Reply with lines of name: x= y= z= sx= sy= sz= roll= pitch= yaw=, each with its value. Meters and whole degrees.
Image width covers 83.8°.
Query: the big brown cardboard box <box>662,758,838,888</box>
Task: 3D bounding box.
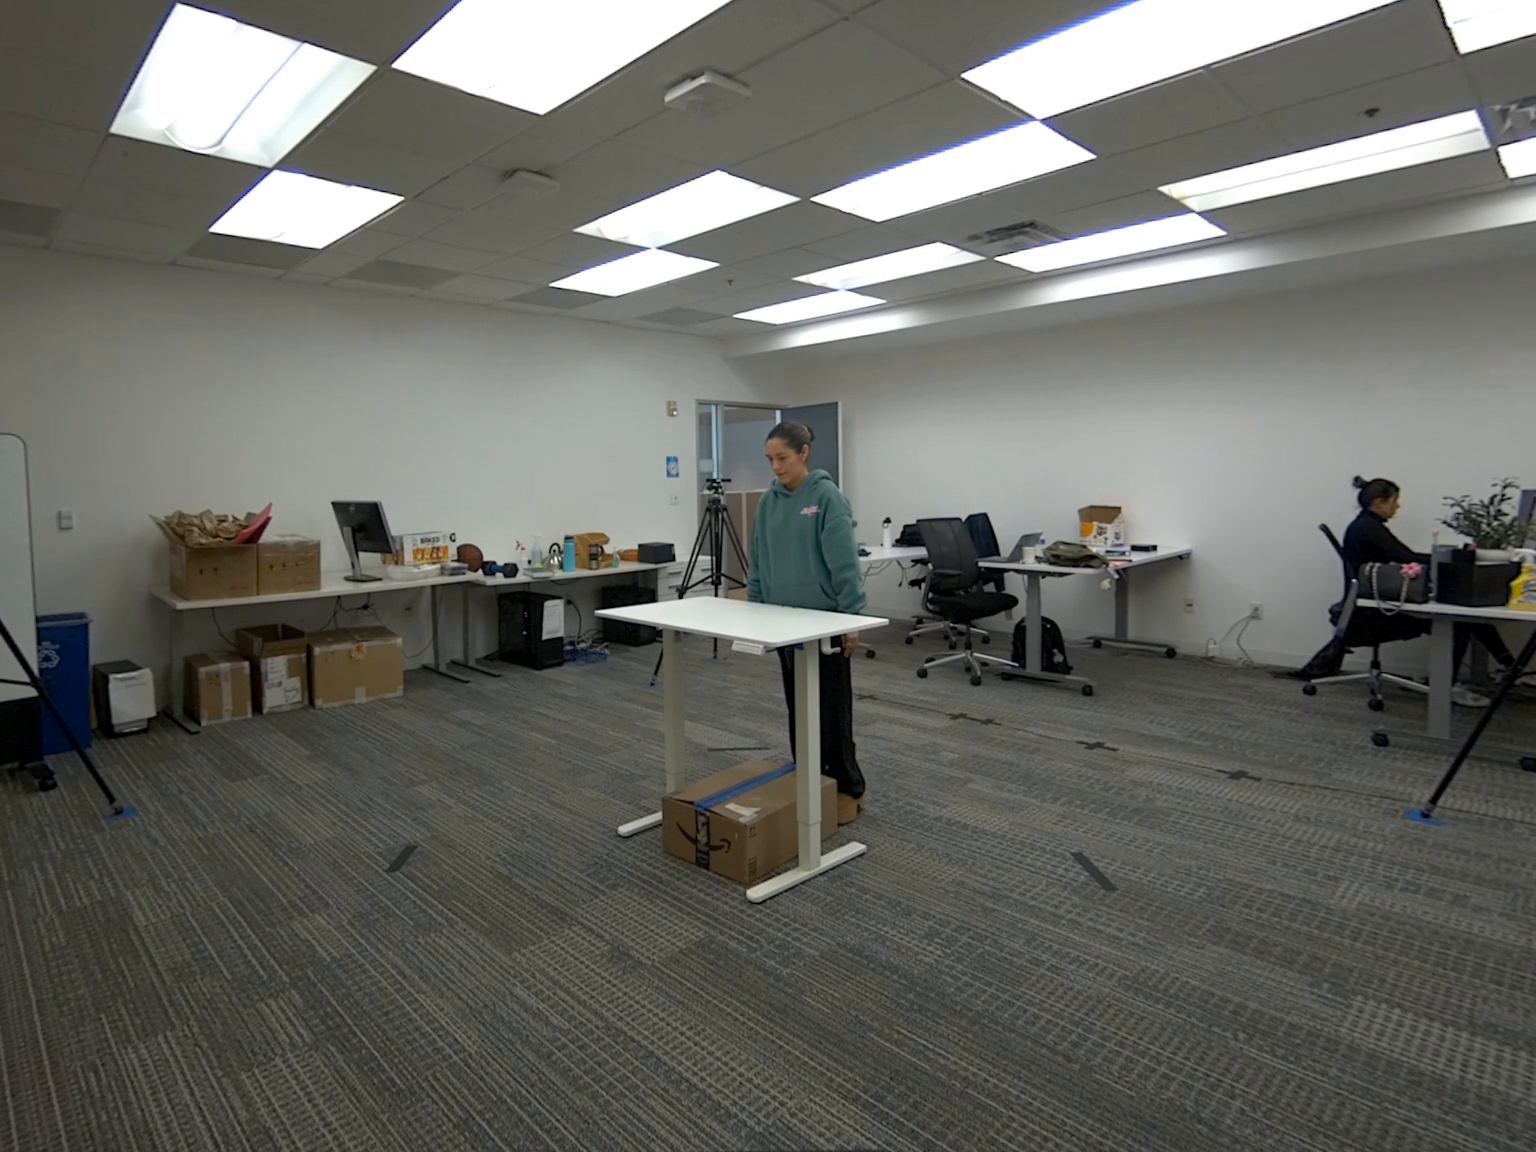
big brown cardboard box: x=-0.067 y=0.910 z=3.270 sx=0.430 sy=0.232 sz=0.574 roll=4 pitch=7 yaw=39
